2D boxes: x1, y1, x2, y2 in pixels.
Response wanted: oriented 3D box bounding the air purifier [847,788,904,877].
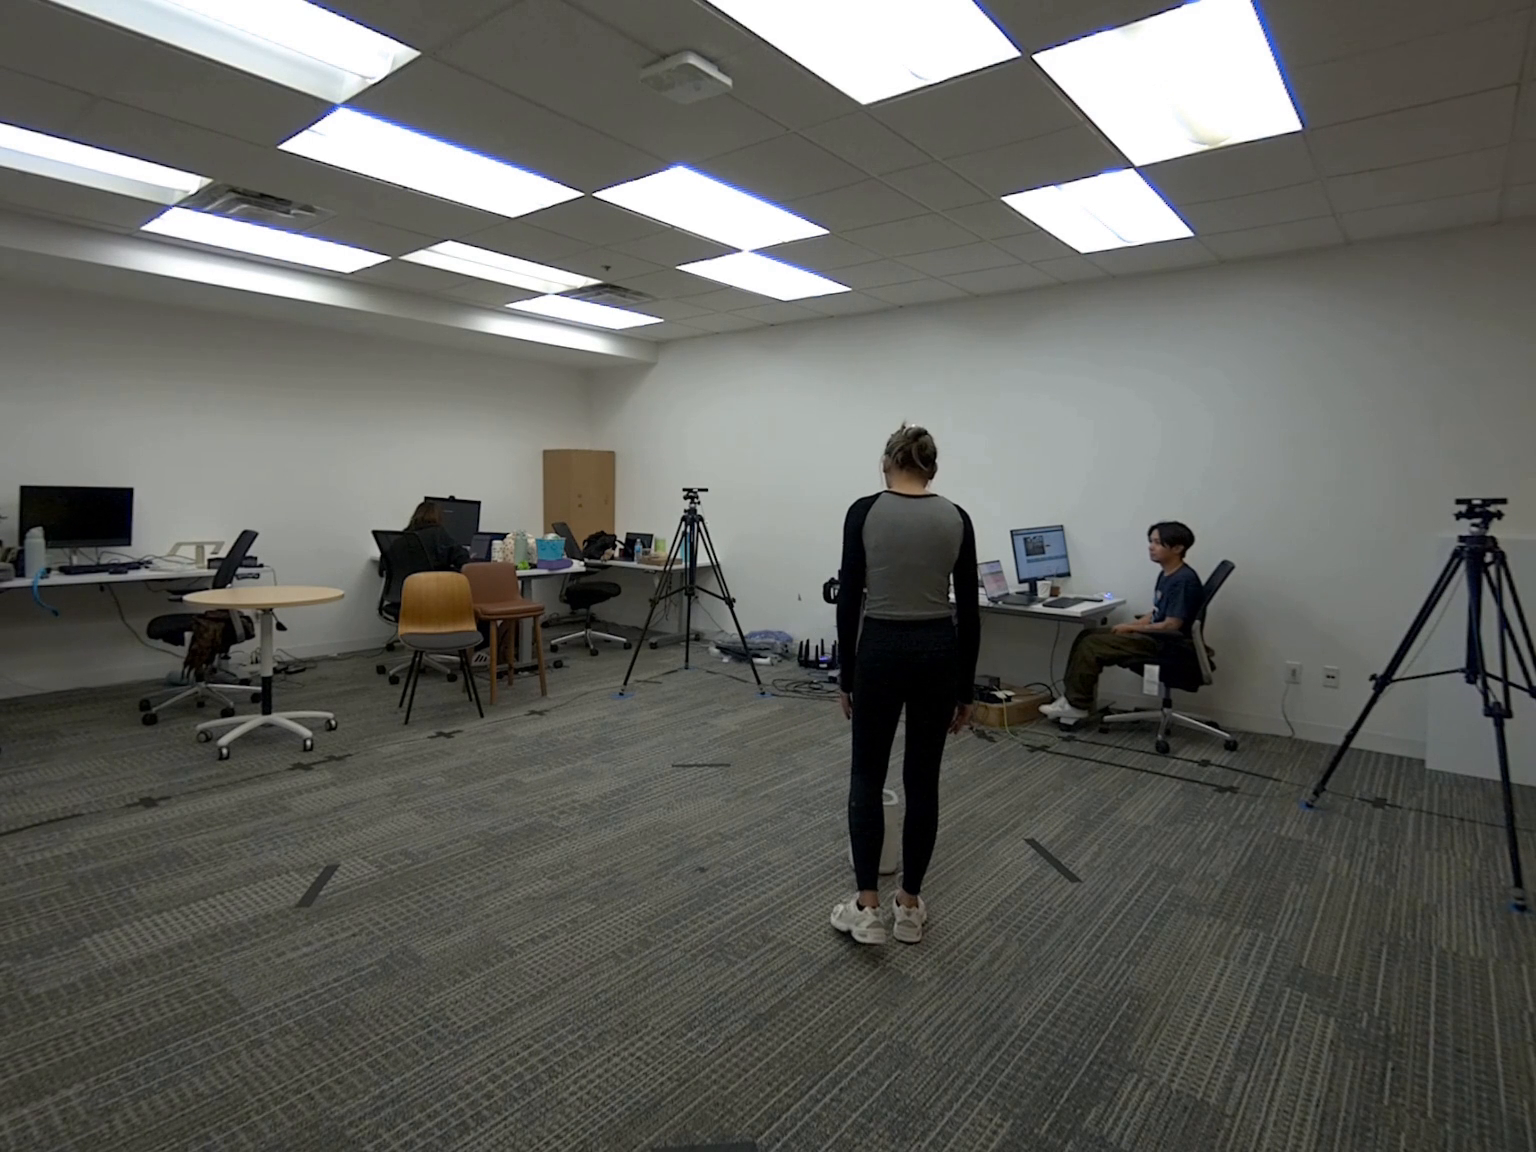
[{"bbox_3d":[0.385,0.937,3.163,0.172,0.264,0.171,0,4,3],"label":"air purifier"}]
